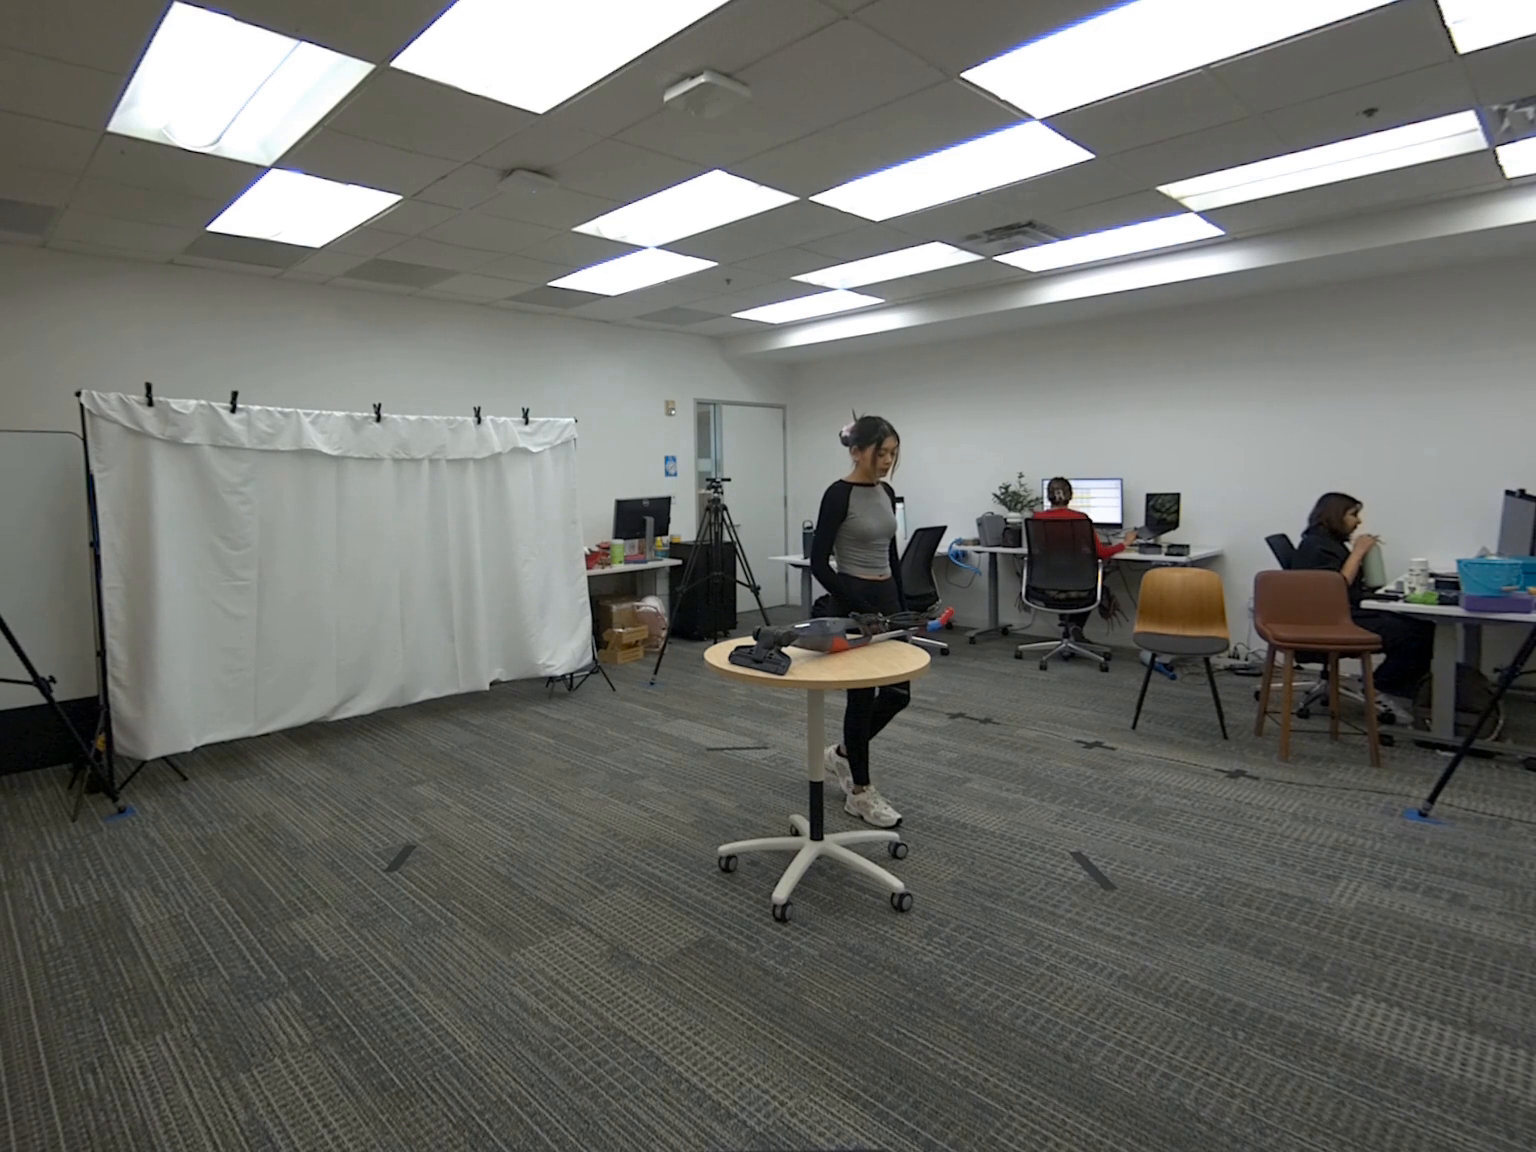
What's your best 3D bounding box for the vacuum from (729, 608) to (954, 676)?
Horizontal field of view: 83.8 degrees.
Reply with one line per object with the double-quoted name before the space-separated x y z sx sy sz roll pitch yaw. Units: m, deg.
"vacuum" 0.365 0.197 3.048 1.022 0.143 0.260 -7 9 -42
